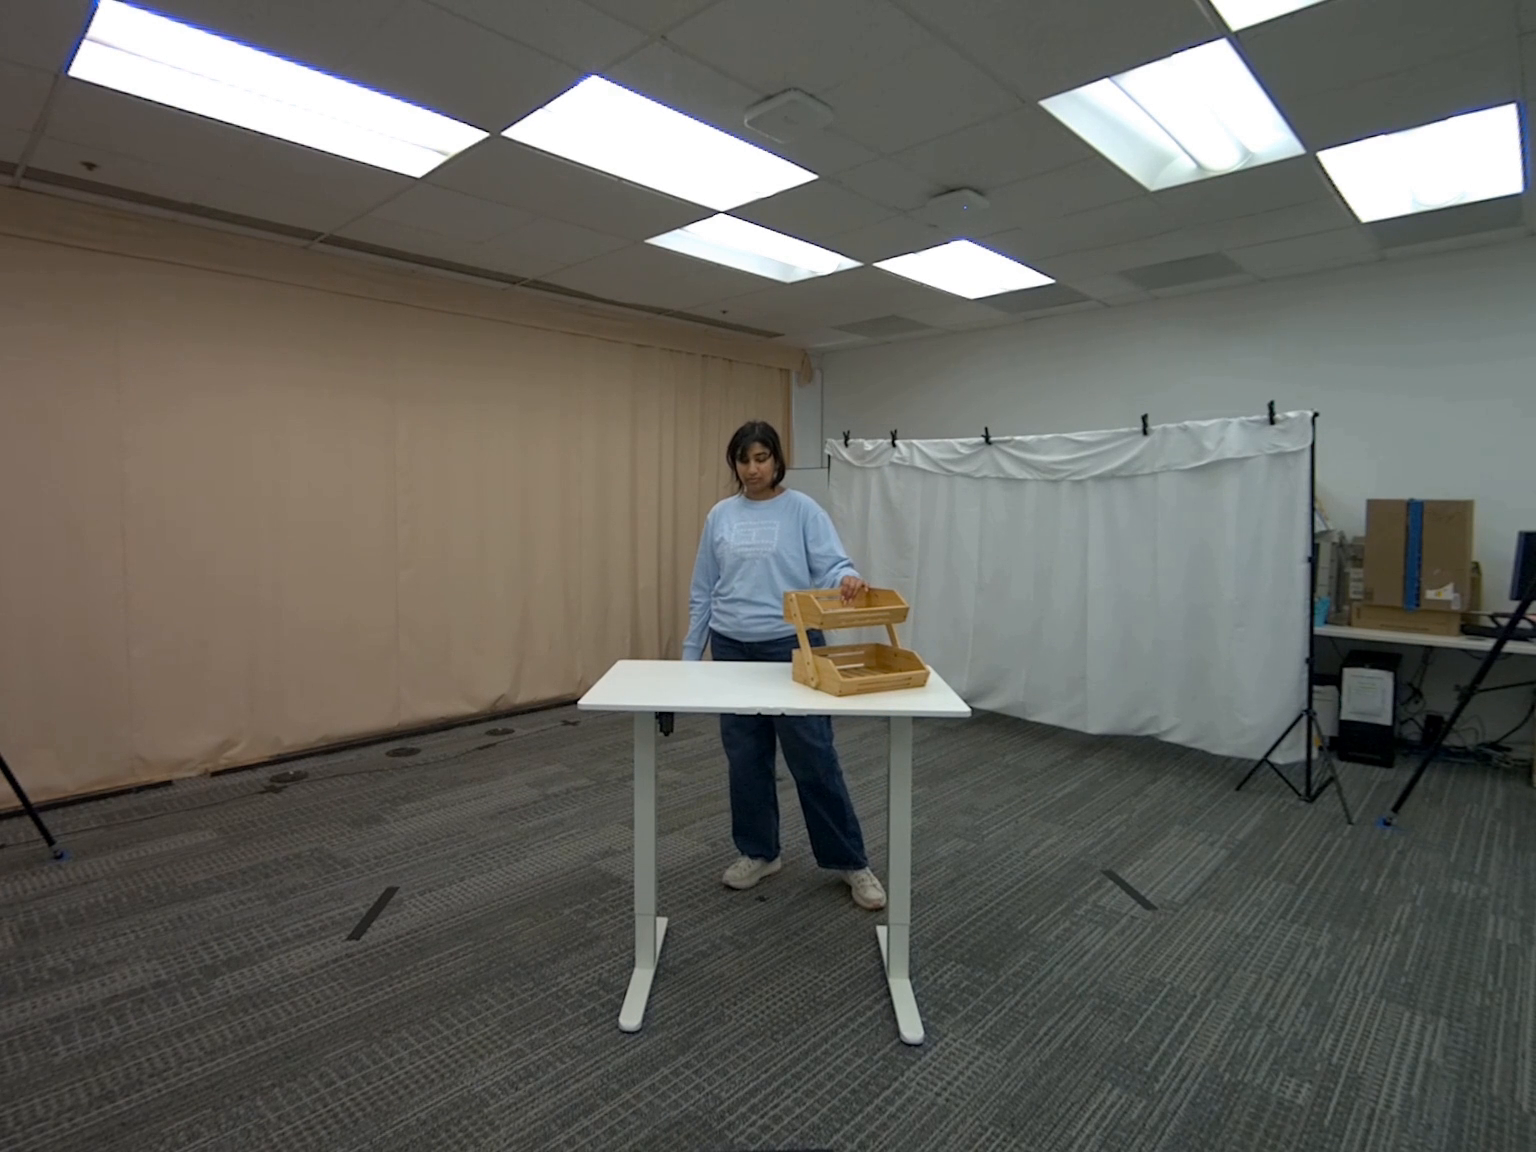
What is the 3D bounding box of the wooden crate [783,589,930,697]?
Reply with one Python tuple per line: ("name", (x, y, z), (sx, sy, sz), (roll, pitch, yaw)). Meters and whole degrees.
("wooden crate", (0.260, 0.178, 2.422), (0.316, 0.273, 0.310), (-2, 4, -27))
